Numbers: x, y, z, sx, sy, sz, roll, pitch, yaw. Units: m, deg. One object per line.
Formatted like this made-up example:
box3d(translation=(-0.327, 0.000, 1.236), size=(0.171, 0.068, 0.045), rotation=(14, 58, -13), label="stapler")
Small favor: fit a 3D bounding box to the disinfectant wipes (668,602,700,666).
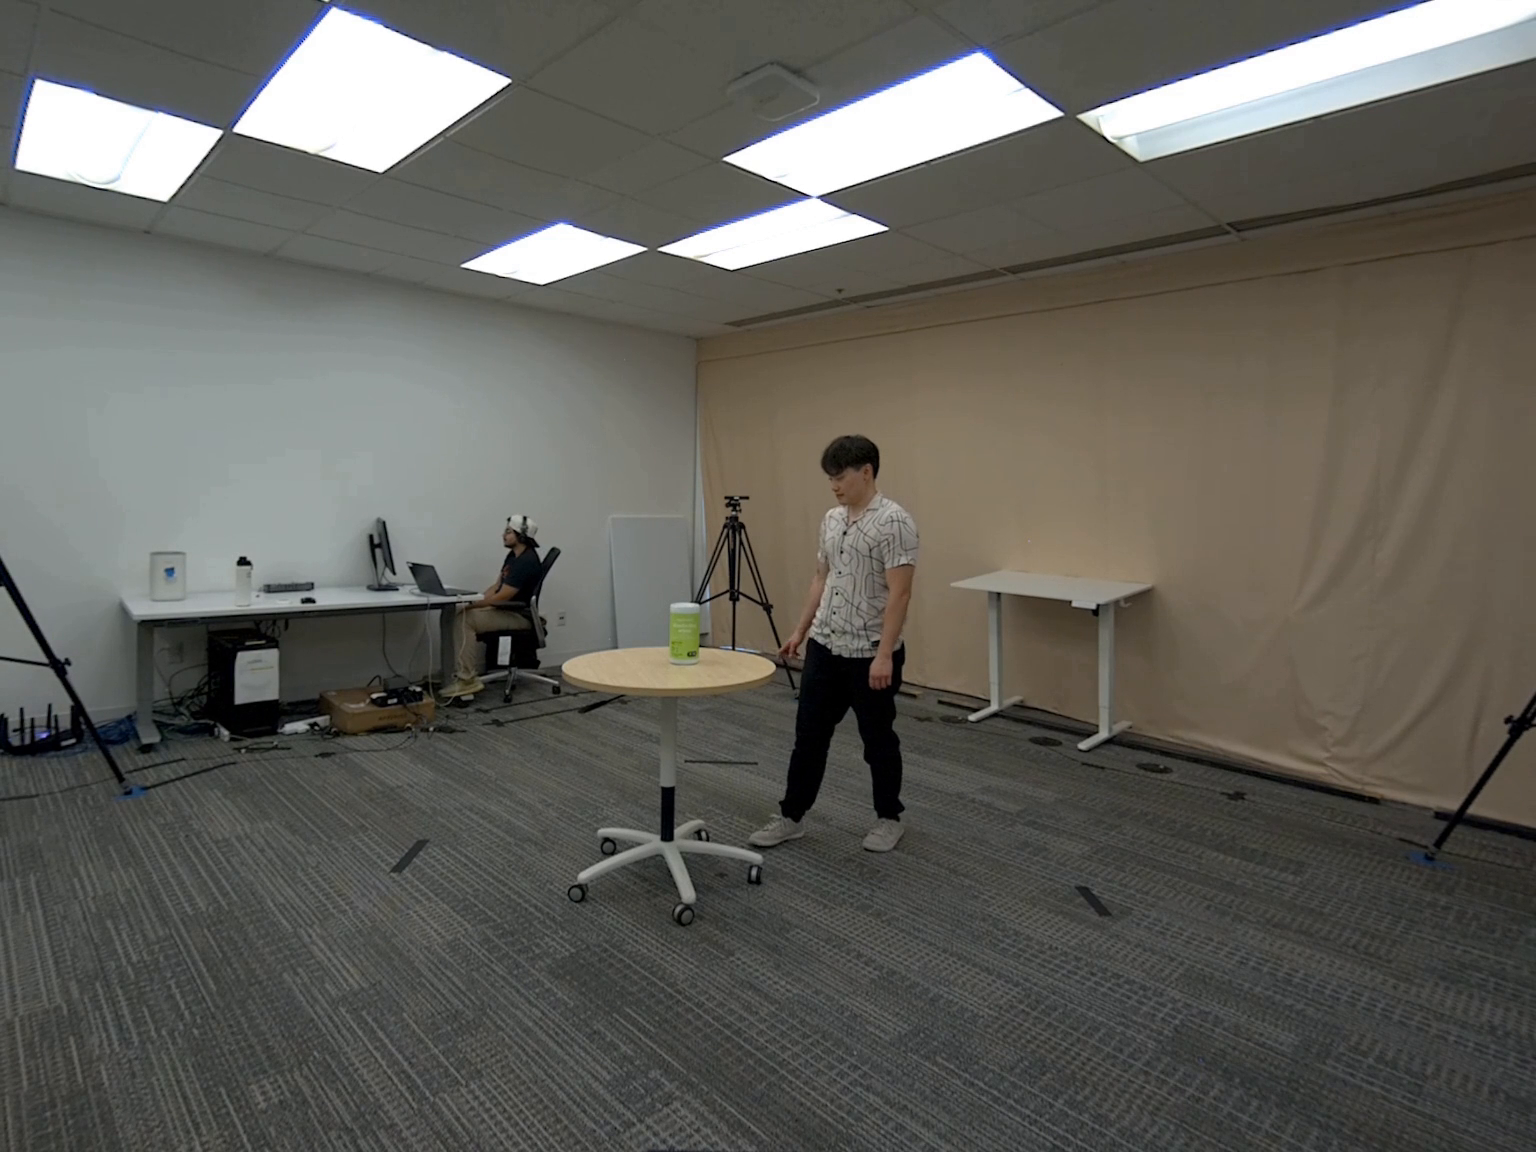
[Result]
box3d(translation=(-0.317, 0.215, 3.082), size=(0.118, 0.217, 0.118), rotation=(1, 5, -1), label="disinfectant wipes")
